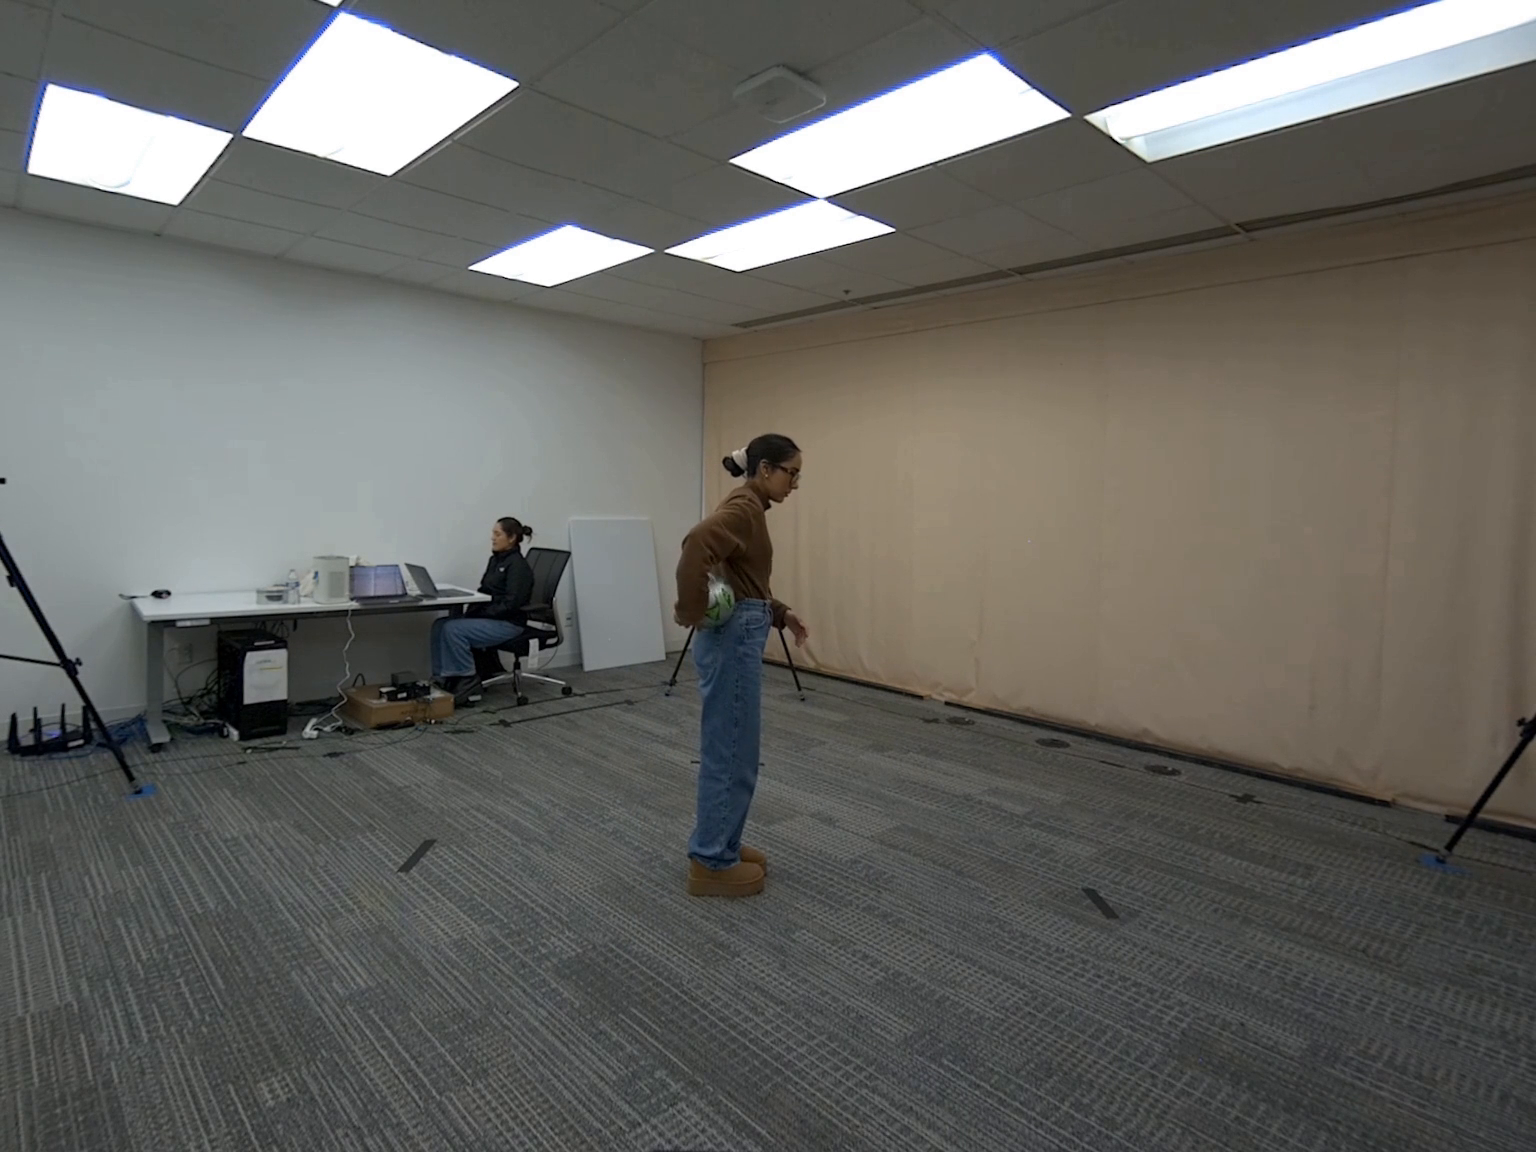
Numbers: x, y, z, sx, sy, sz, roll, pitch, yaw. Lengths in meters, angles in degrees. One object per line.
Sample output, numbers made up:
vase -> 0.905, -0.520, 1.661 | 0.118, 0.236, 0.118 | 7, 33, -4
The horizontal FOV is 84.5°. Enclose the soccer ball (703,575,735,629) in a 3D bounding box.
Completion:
soccer ball -> -0.214, 0.084, 2.815 | 0.187, 0.187, 0.188 | 1, 4, -1
